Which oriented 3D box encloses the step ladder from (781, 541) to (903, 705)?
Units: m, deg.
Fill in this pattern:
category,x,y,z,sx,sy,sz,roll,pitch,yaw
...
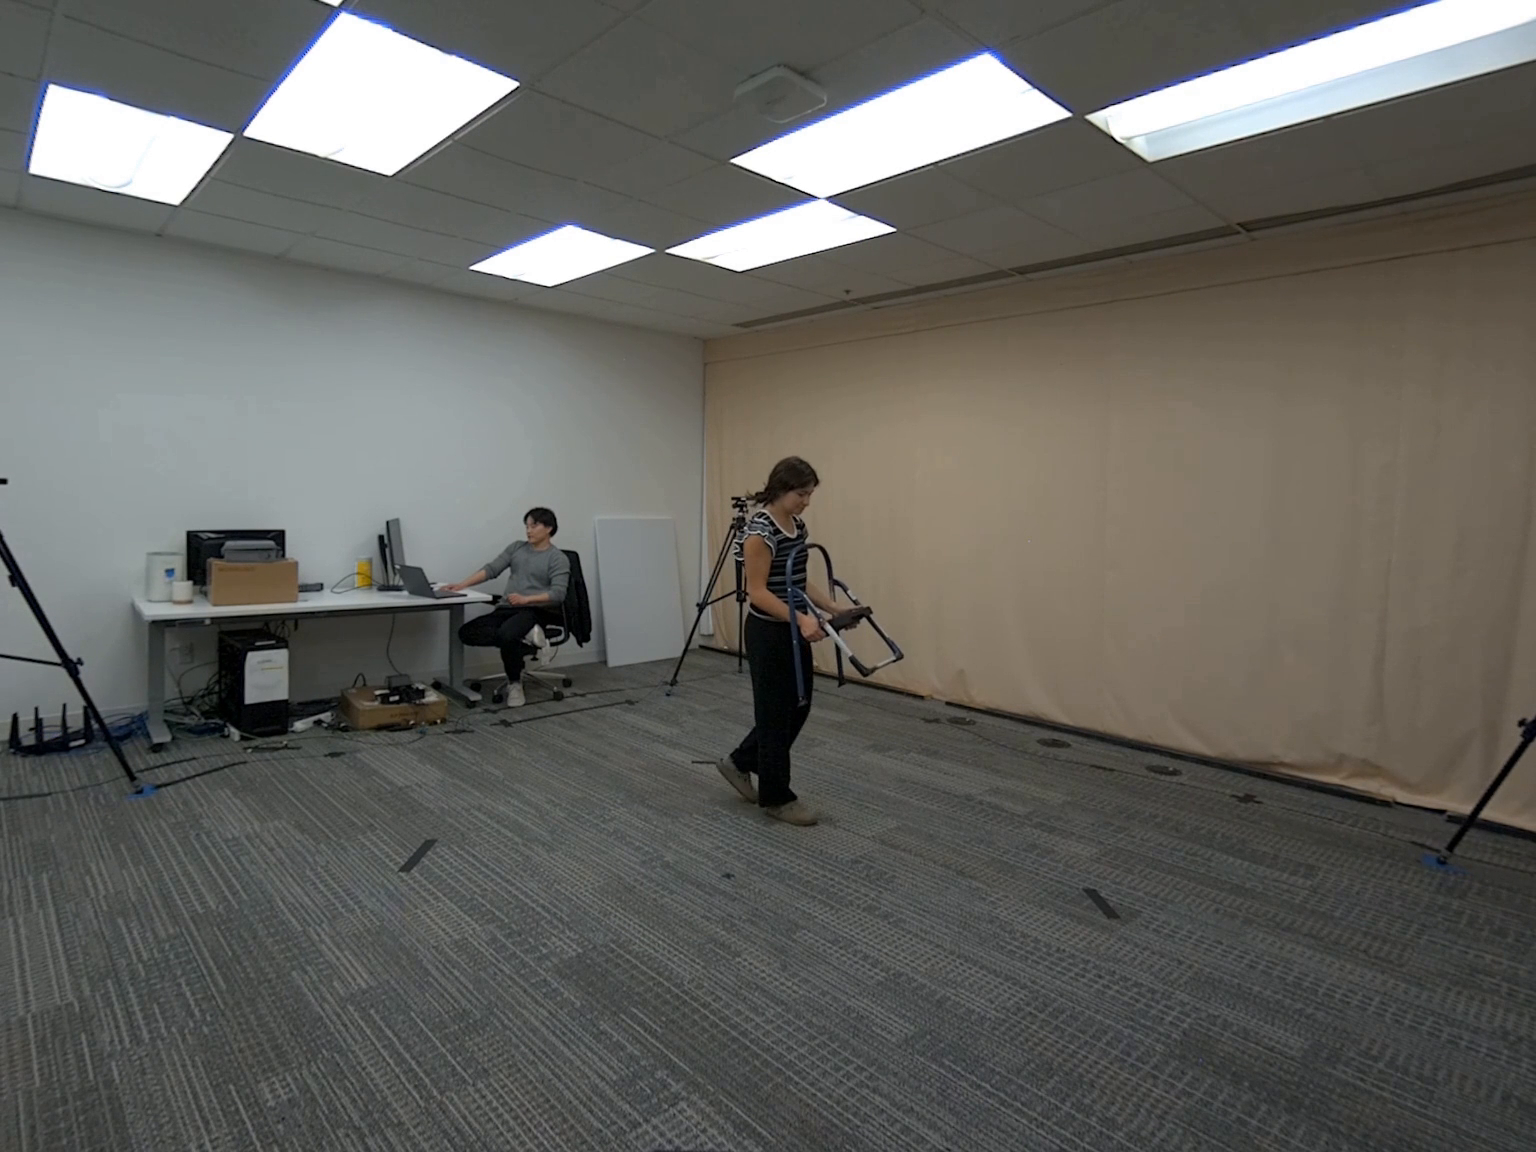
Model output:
category,x,y,z,sx,sy,sz,roll,pitch,yaw
step ladder,0.224,0.172,3.580,0.352,0.613,0.422,-30,-12,28
